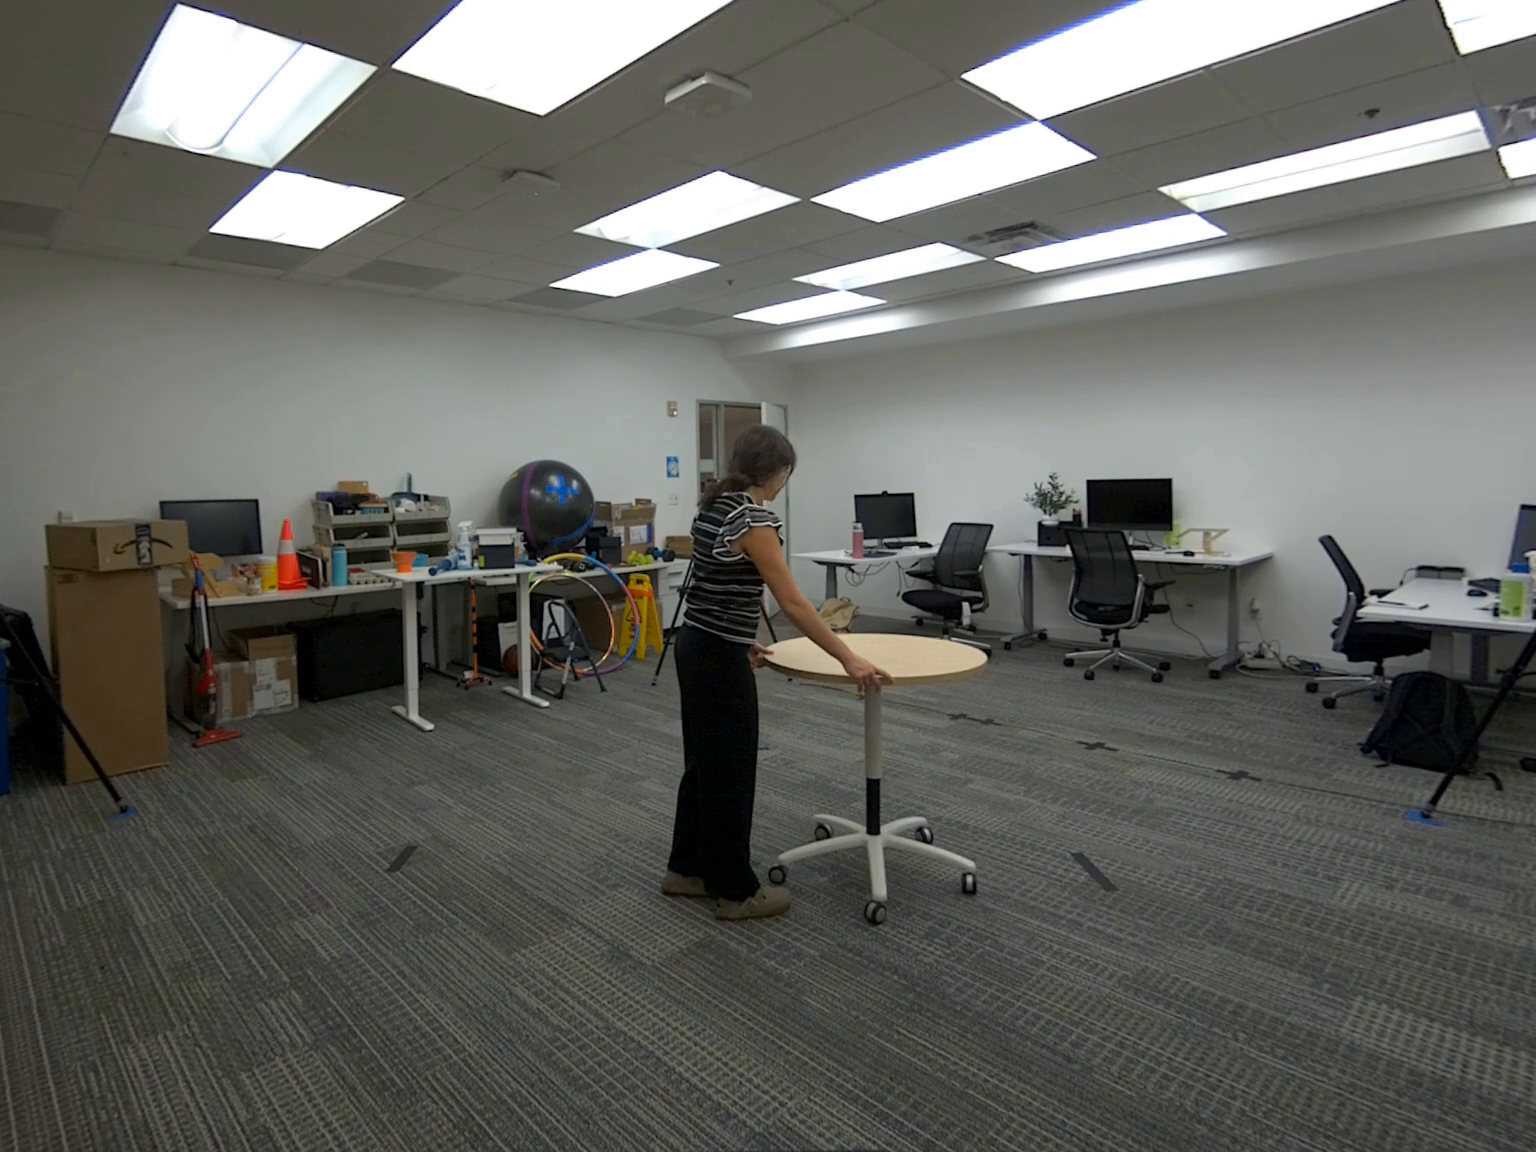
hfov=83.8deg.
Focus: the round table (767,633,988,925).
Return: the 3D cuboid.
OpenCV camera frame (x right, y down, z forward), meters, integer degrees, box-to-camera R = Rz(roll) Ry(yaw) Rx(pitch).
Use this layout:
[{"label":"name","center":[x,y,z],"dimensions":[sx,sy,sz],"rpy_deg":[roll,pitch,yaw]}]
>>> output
[{"label":"round table","center":[0.364,0.653,3.018],"dimensions":[0.784,0.783,0.789],"rpy_deg":[-1,5,-2]}]
